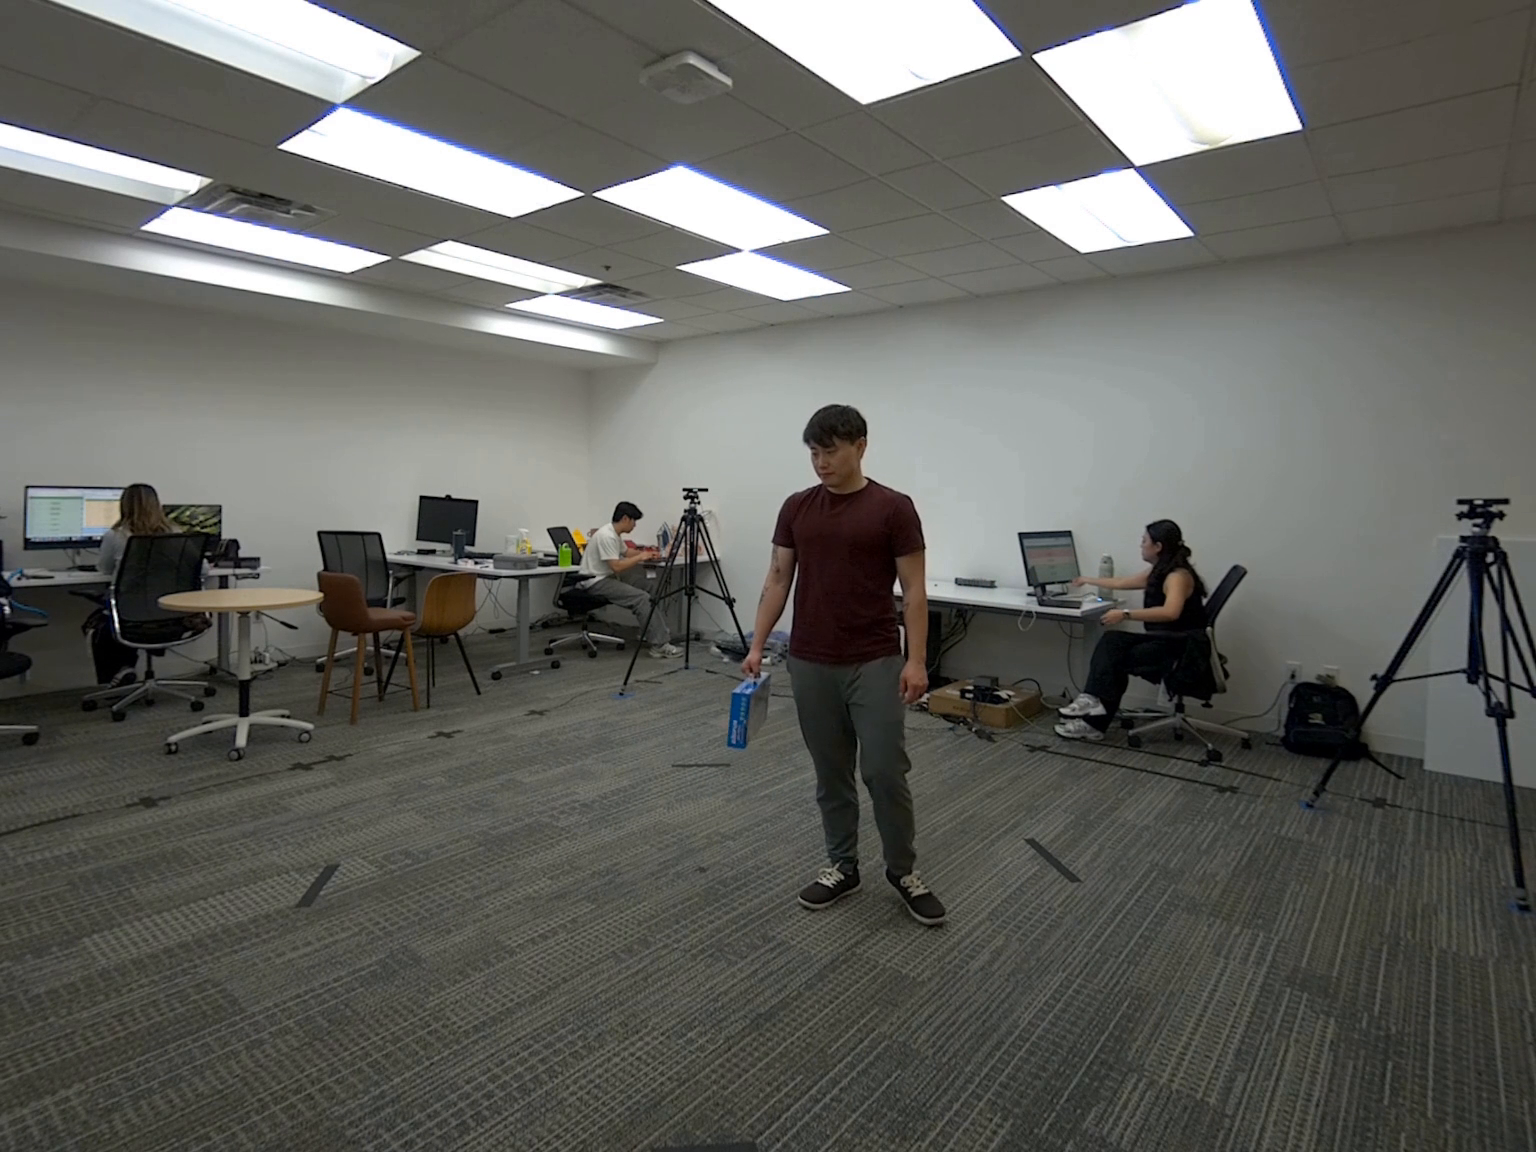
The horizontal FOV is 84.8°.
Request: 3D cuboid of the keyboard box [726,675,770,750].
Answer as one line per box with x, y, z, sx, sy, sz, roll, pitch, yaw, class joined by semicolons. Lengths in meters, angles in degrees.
-0.062;0.434;2.846;0.060;0.175;0.432;4;4;9;keyboard box
